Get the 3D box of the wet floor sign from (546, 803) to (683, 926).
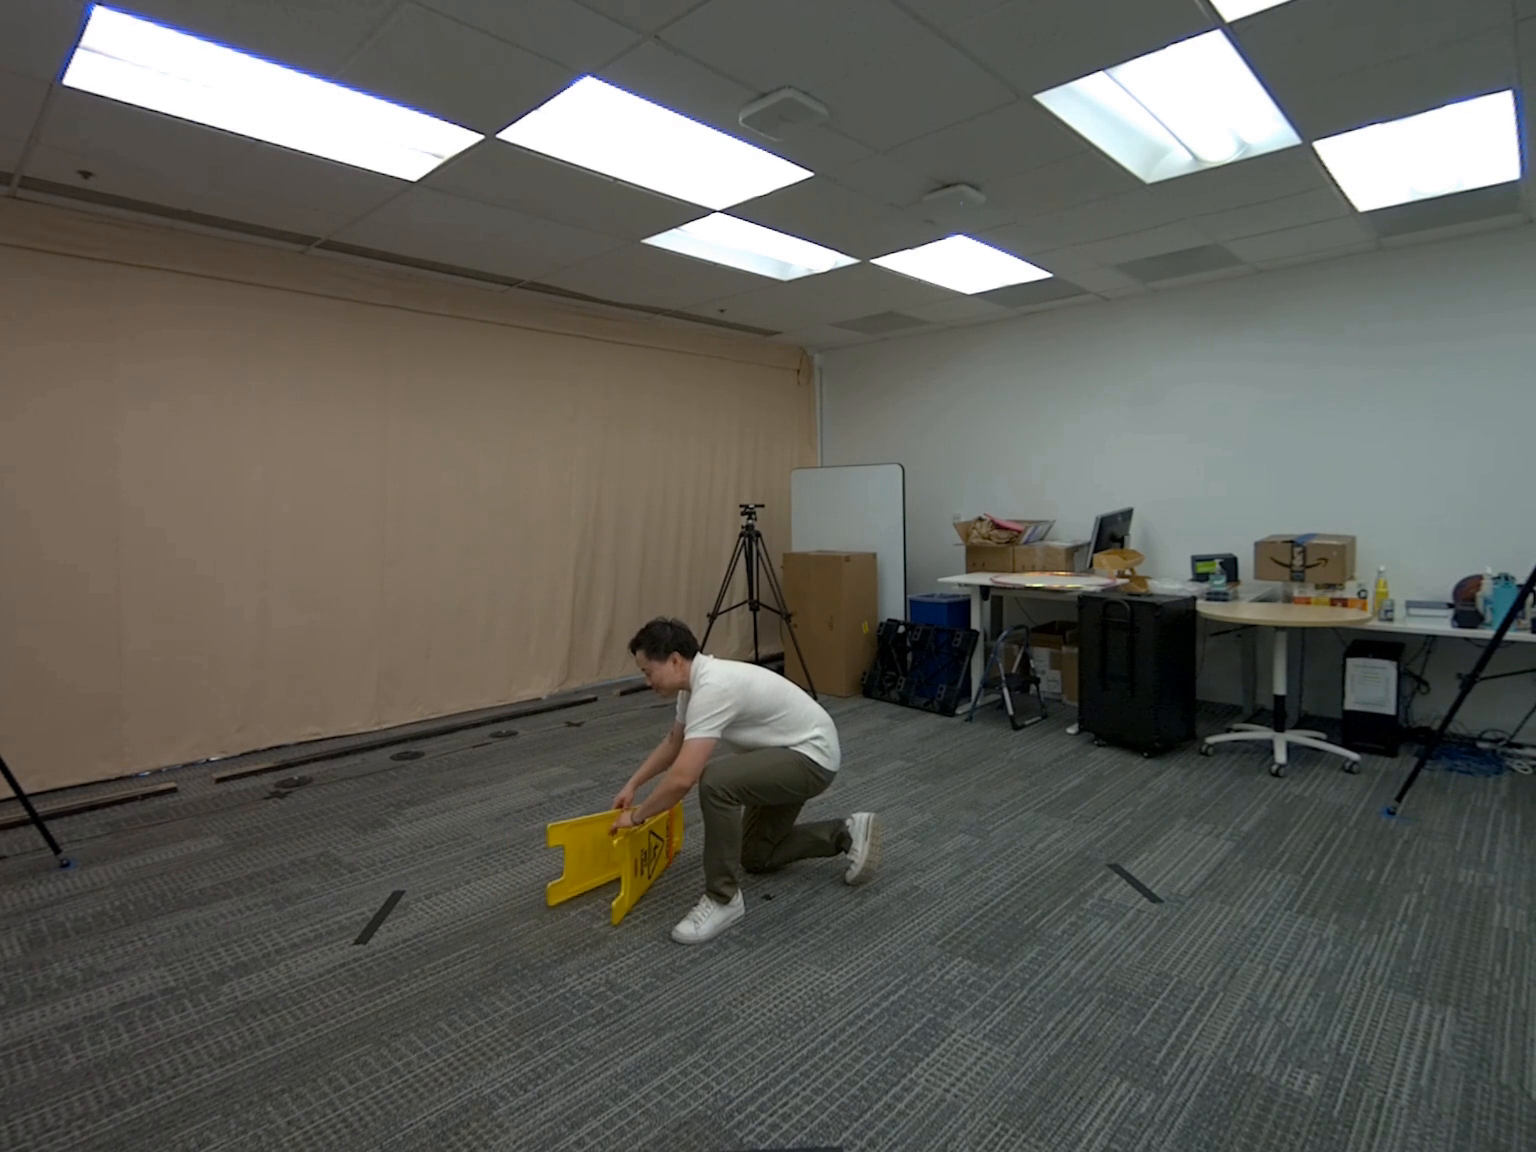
[{"bbox_3d":[-0.501,1.007,3.130,0.297,0.282,0.629,1,1,27],"label":"wet floor sign"}]
